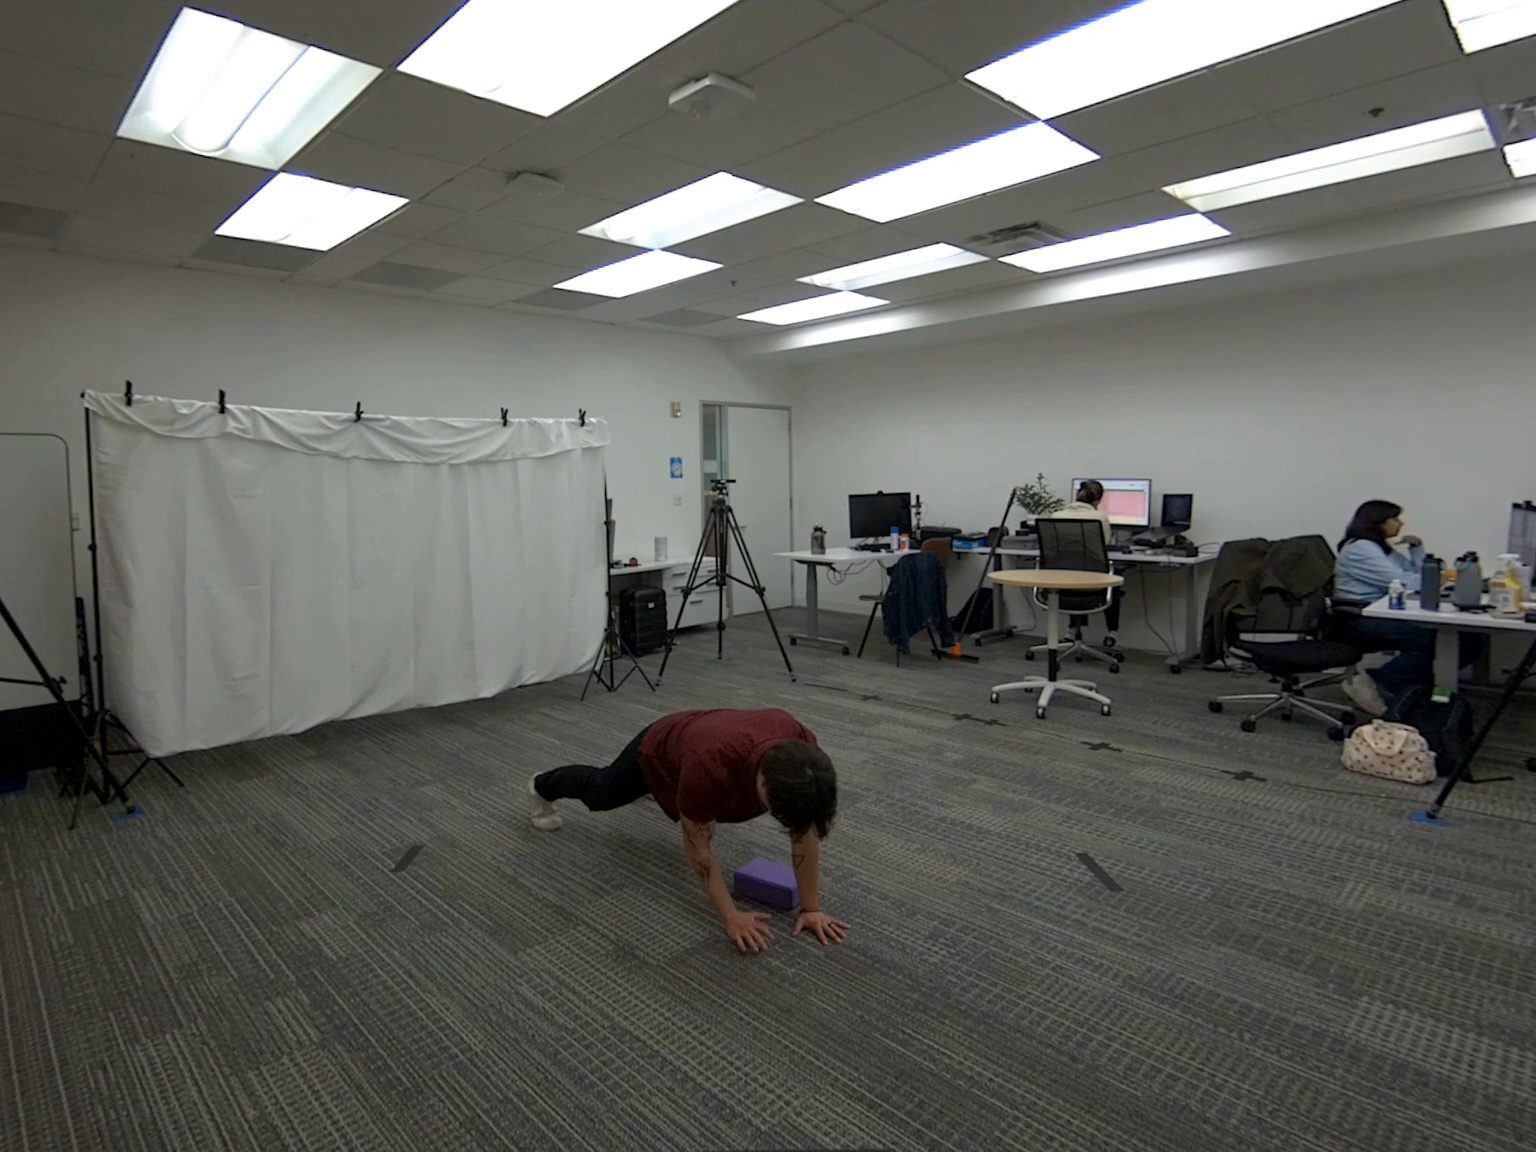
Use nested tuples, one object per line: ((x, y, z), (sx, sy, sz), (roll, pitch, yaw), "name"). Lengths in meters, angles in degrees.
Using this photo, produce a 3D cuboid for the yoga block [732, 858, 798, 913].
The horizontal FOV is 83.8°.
((0.018, 1.029, 2.876), (0.236, 0.076, 0.145), (3, 6, 35), "yoga block")
